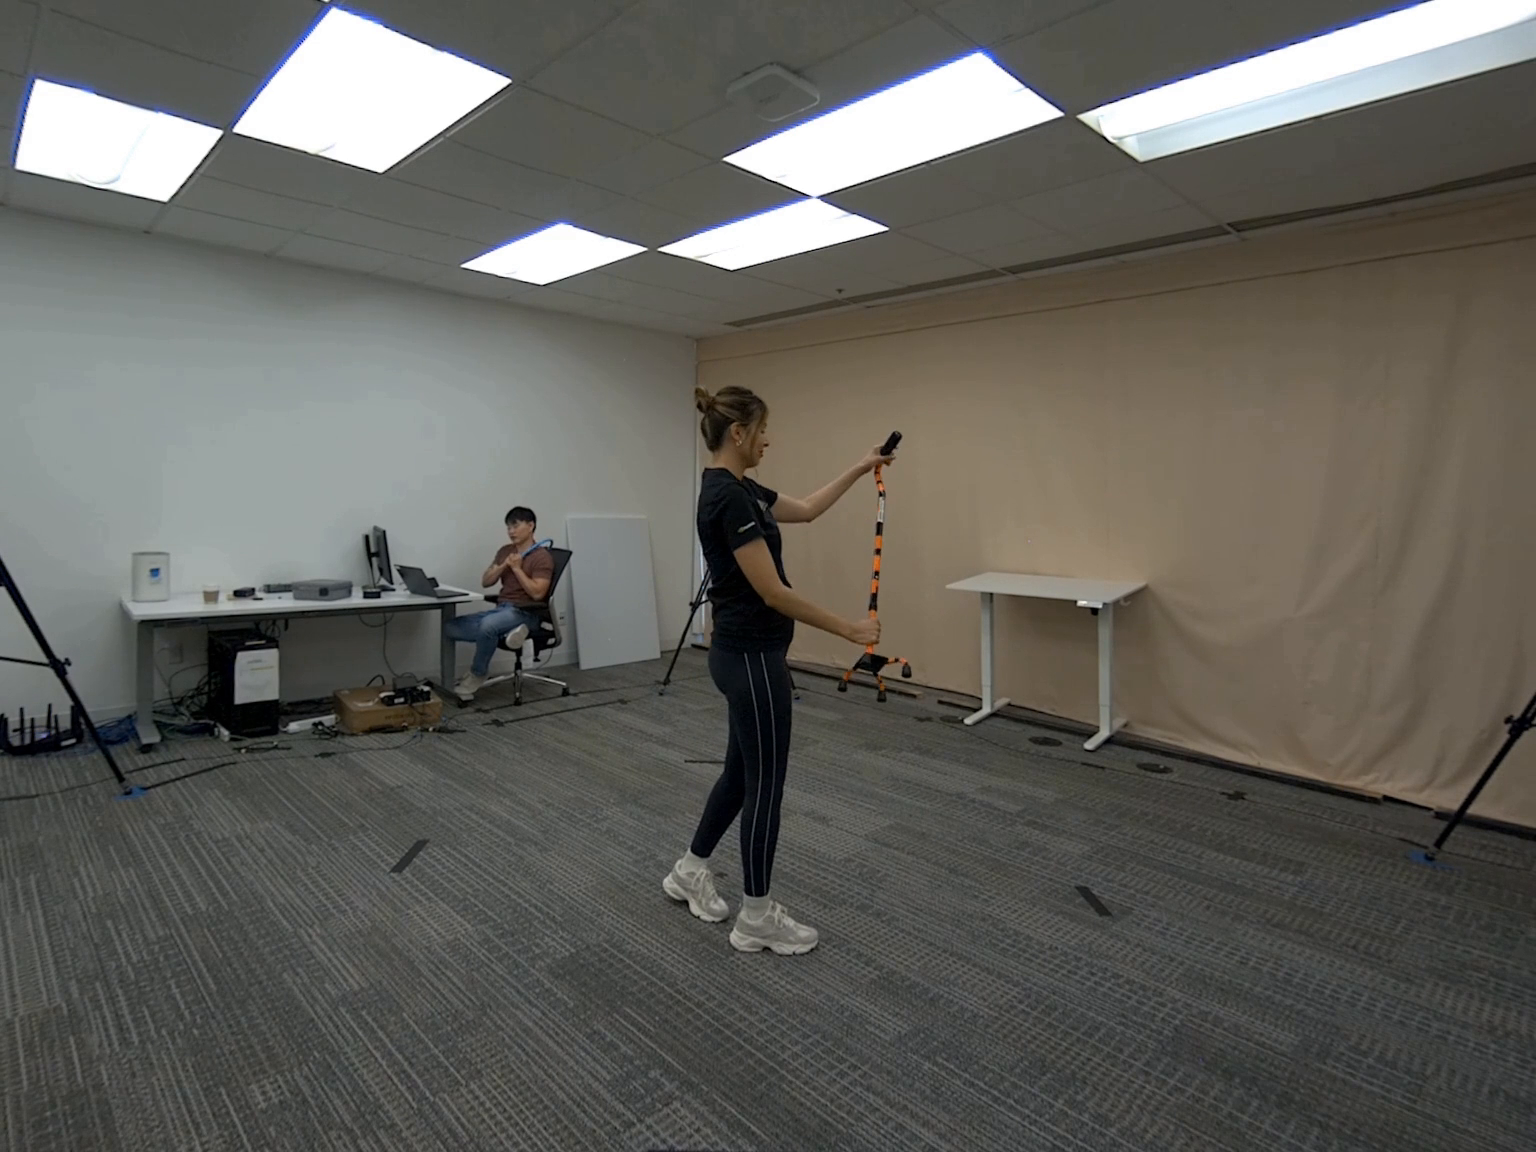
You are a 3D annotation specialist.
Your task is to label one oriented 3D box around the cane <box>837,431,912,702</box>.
[{"bbox_3d":[0.357,-0.061,2.665,0.150,0.922,0.205,19,-35,-12],"label":"cane"}]
